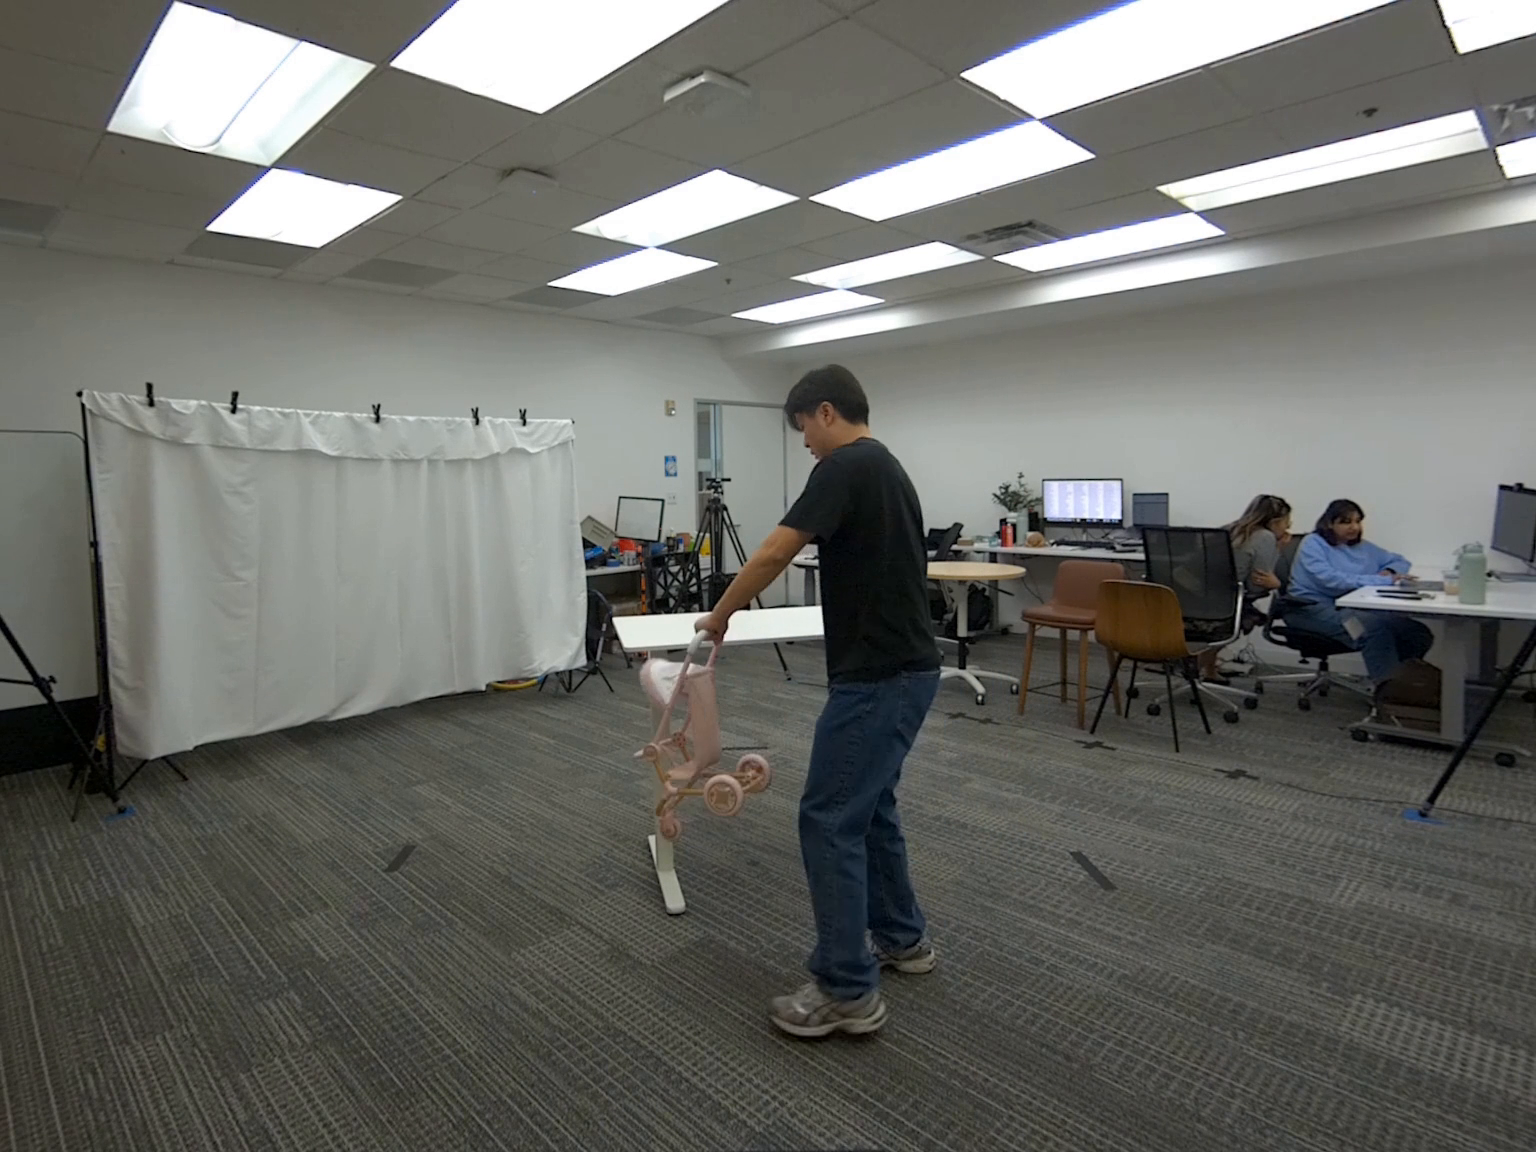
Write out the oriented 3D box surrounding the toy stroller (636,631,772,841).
[{"bbox_3d":[-0.219,0.449,2.390,0.346,0.539,0.275,-20,-7,24],"label":"toy stroller"}]
